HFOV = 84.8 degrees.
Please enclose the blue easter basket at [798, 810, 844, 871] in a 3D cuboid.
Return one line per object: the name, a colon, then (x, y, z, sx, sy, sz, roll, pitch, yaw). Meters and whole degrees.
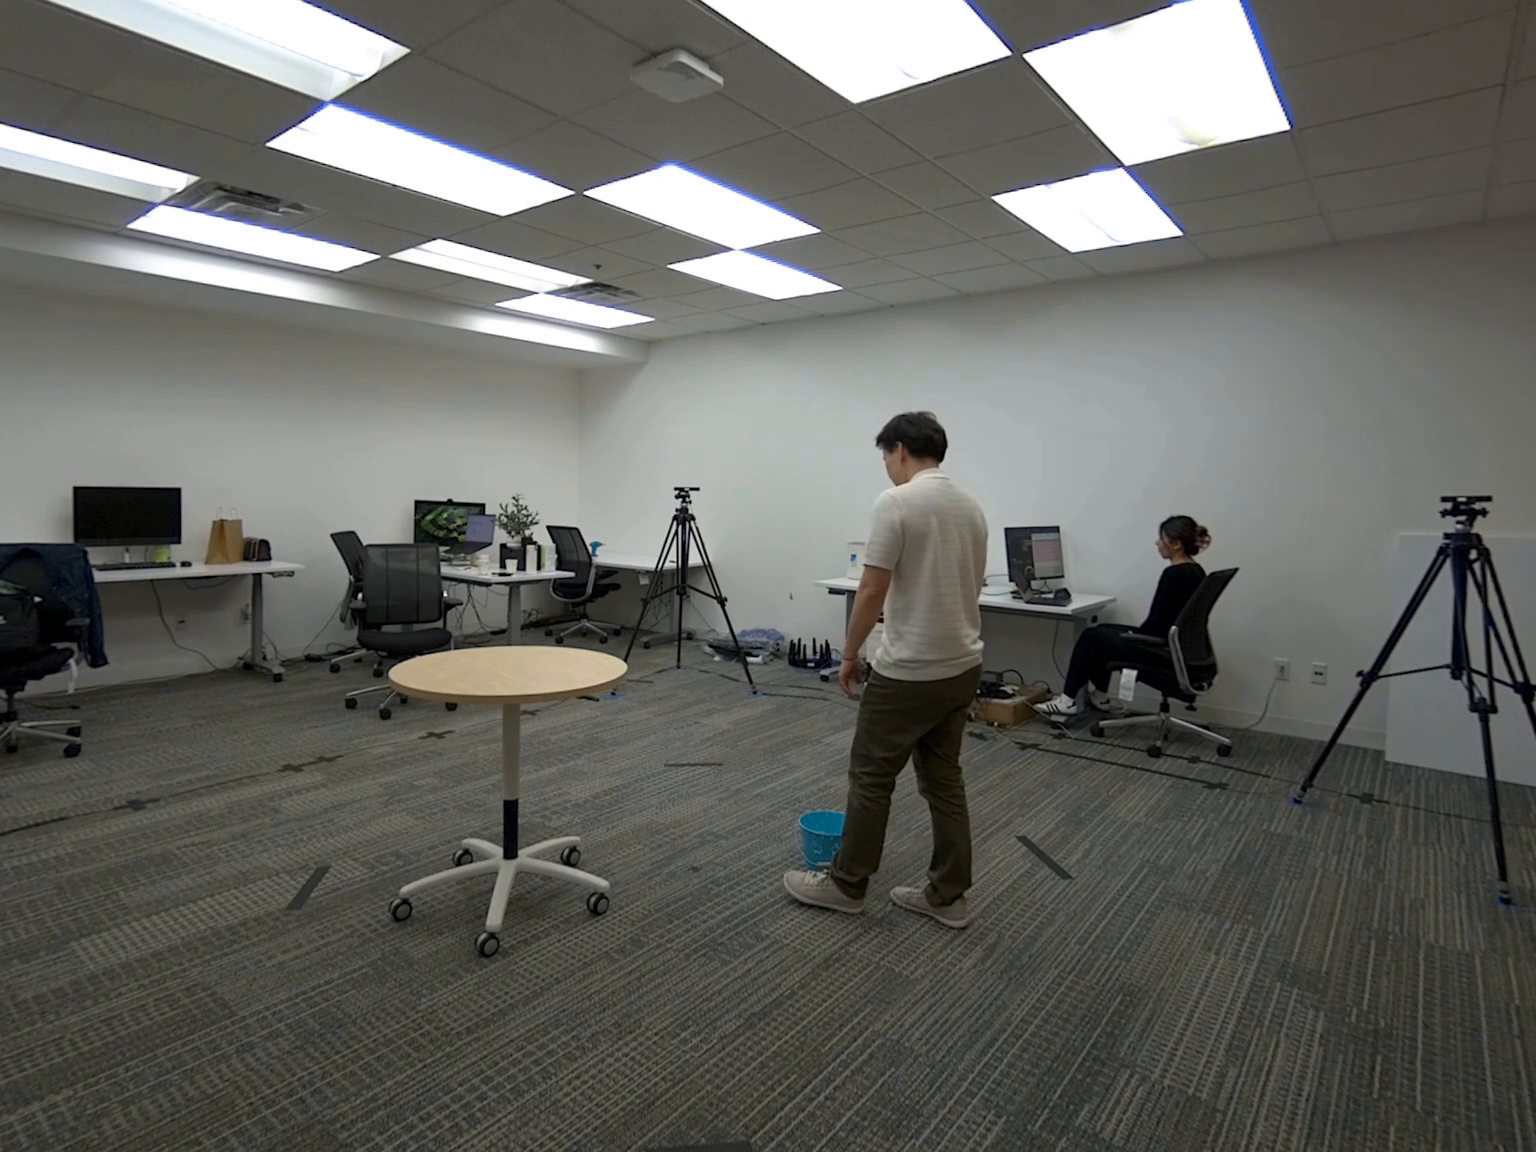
blue easter basket: (0.213, 0.990, 3.182, 0.243, 0.155, 0.245, 1, 5, -2)
